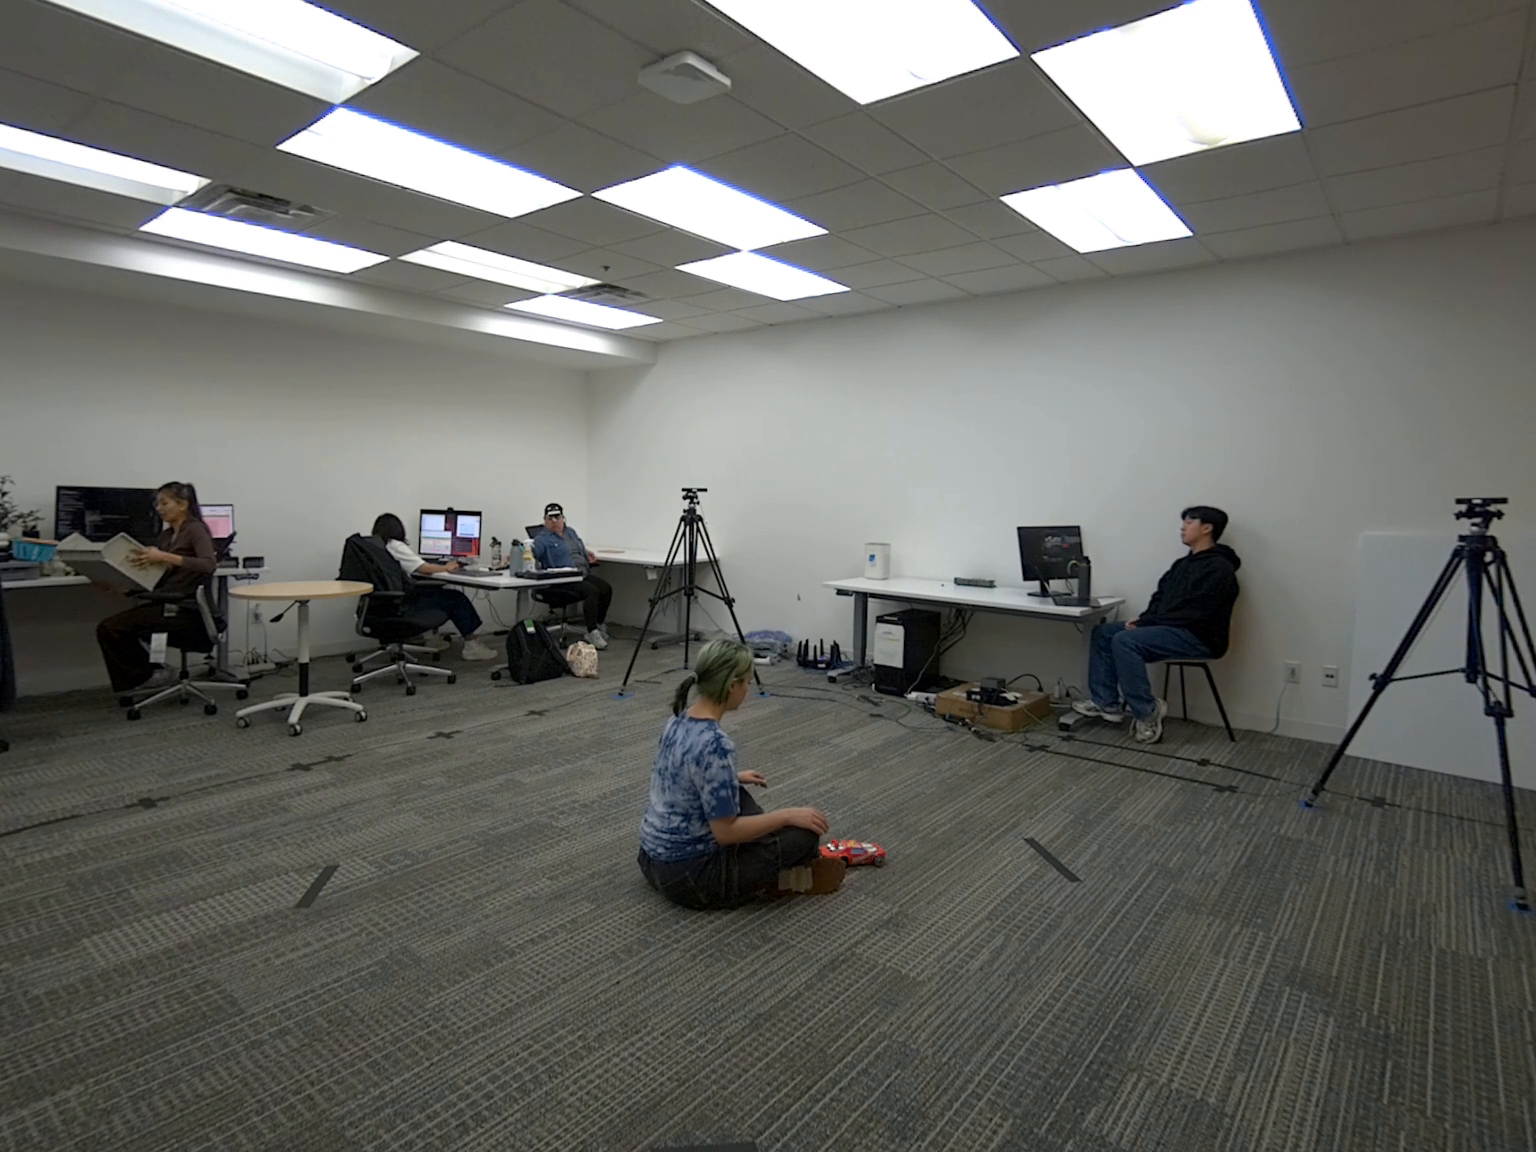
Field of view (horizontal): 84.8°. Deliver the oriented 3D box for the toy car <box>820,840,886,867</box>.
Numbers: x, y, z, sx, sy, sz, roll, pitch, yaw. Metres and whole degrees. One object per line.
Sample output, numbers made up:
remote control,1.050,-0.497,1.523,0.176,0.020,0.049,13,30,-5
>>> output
toy car,0.302,1.043,3.185,0.250,0.083,0.133,12,3,-15
